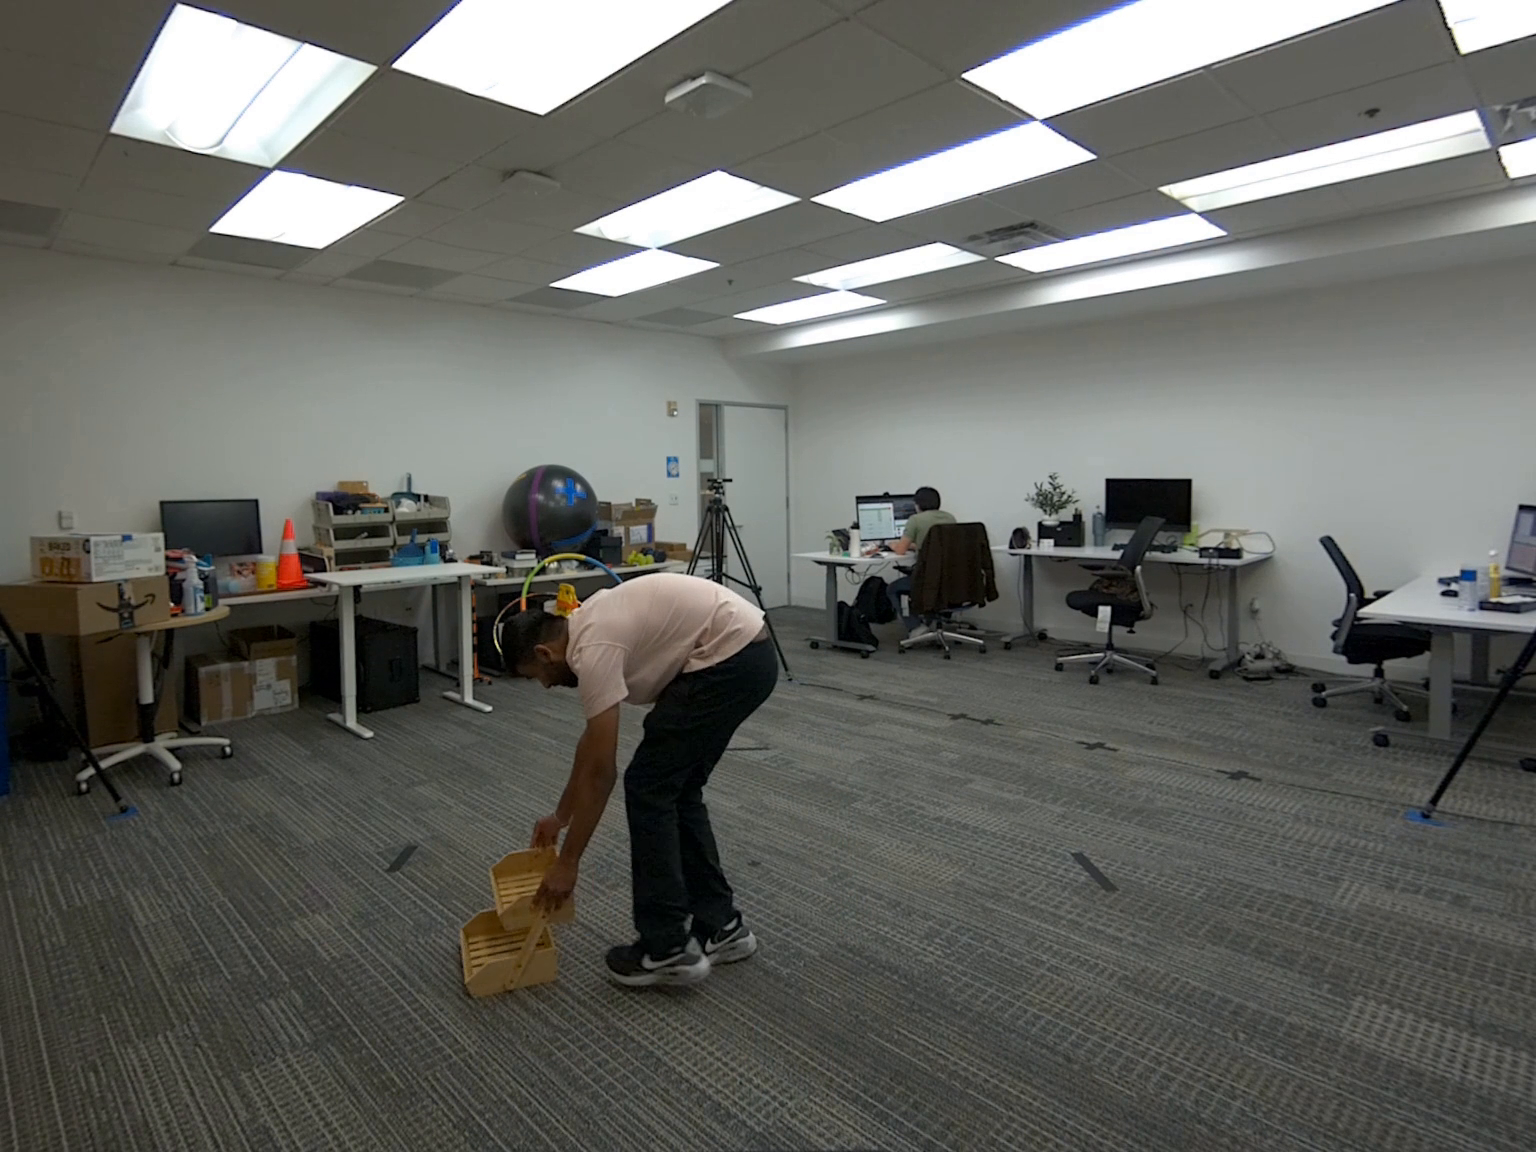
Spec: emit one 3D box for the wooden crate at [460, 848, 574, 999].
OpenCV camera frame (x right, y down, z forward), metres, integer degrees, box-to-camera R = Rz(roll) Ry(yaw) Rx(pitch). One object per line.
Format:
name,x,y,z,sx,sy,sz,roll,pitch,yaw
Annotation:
wooden crate,-0.737,0.999,2.496,0.296,0.272,0.332,-3,6,-22
